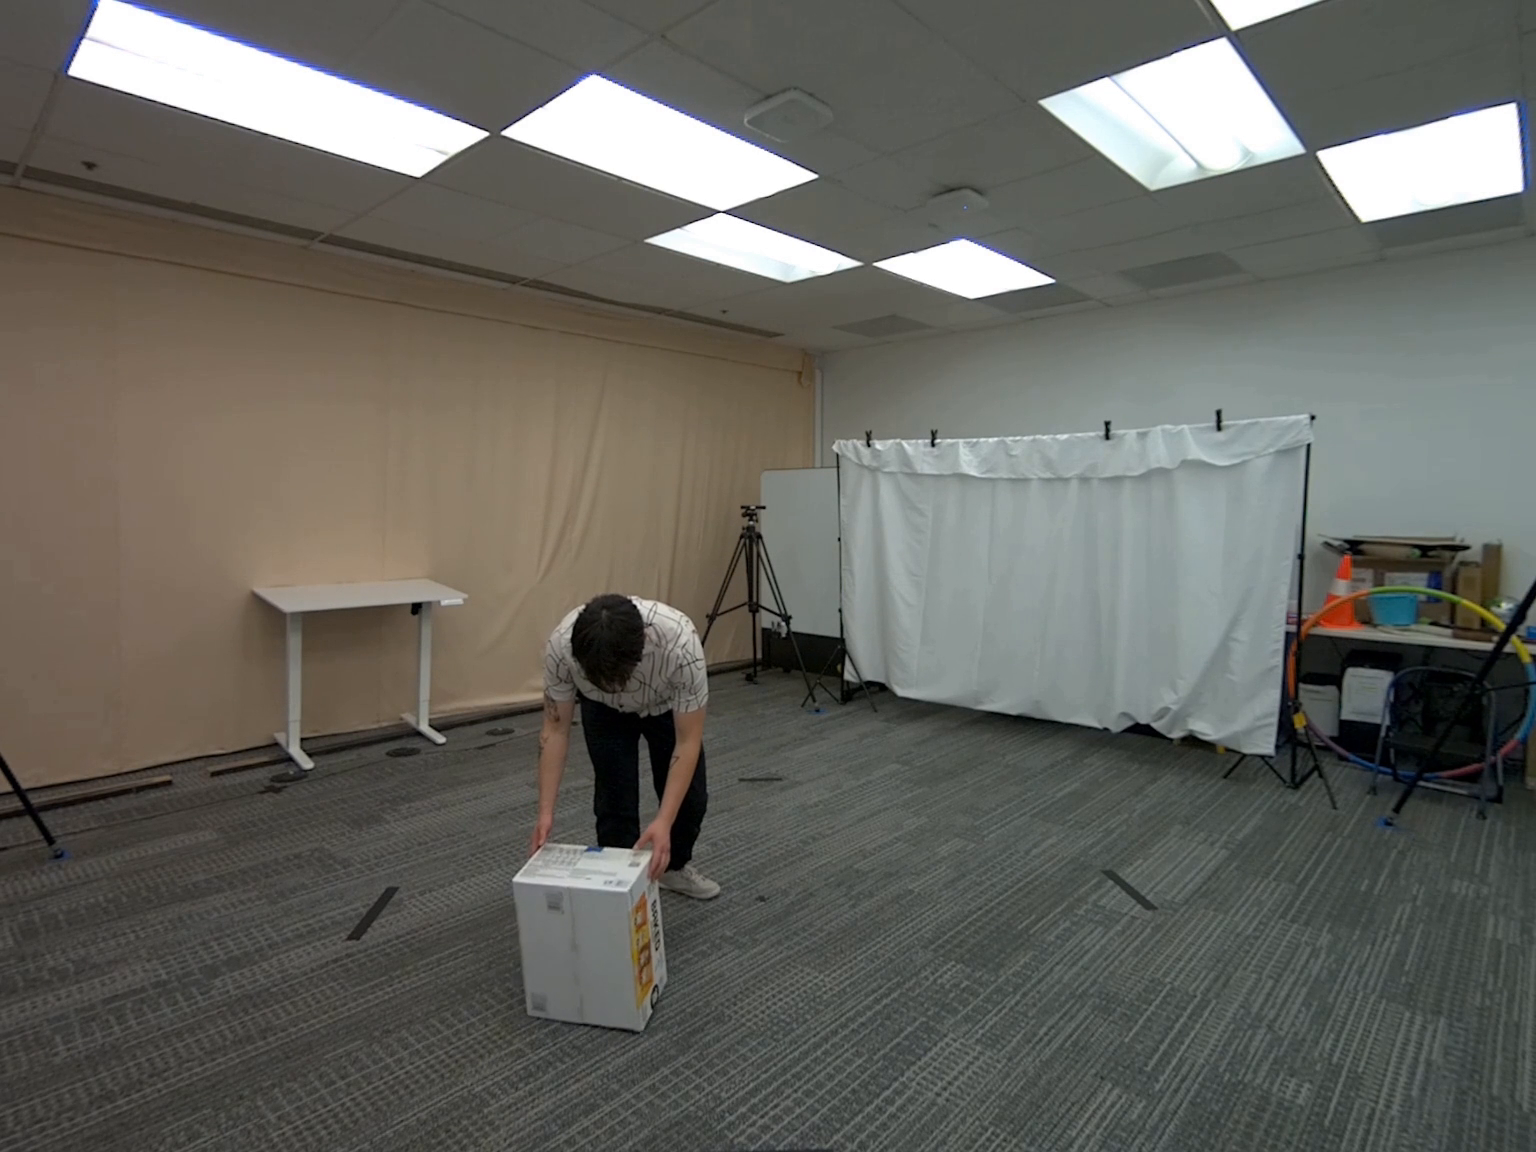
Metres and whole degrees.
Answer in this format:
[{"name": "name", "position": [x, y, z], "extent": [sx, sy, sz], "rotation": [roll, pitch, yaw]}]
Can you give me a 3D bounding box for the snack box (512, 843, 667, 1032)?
[{"name": "snack box", "position": [-0.483, 0.980, 2.317], "extent": [0.346, 0.402, 0.204], "rotation": [-1, 10, 15]}]
